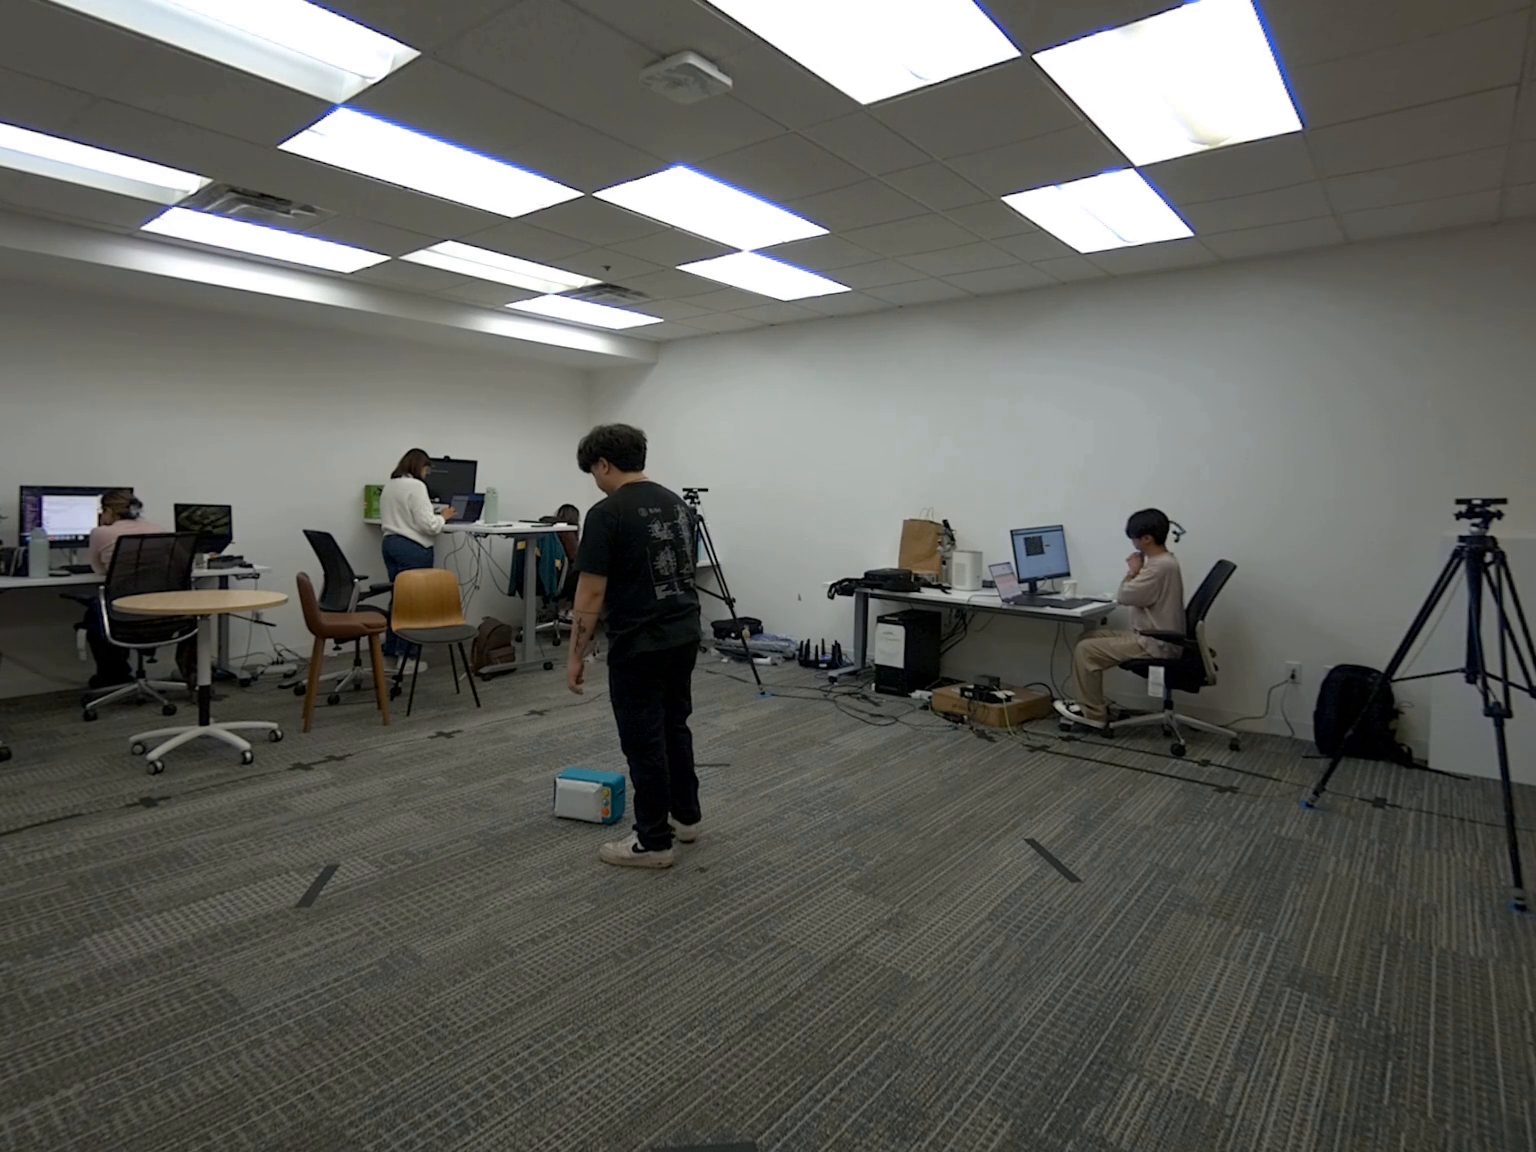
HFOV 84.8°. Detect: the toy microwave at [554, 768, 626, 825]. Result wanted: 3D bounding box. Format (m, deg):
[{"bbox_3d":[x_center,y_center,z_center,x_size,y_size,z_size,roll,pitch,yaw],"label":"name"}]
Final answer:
[{"bbox_3d":[-0.764,0.922,3.579,0.291,0.183,0.150,2,4,17],"label":"toy microwave"}]
